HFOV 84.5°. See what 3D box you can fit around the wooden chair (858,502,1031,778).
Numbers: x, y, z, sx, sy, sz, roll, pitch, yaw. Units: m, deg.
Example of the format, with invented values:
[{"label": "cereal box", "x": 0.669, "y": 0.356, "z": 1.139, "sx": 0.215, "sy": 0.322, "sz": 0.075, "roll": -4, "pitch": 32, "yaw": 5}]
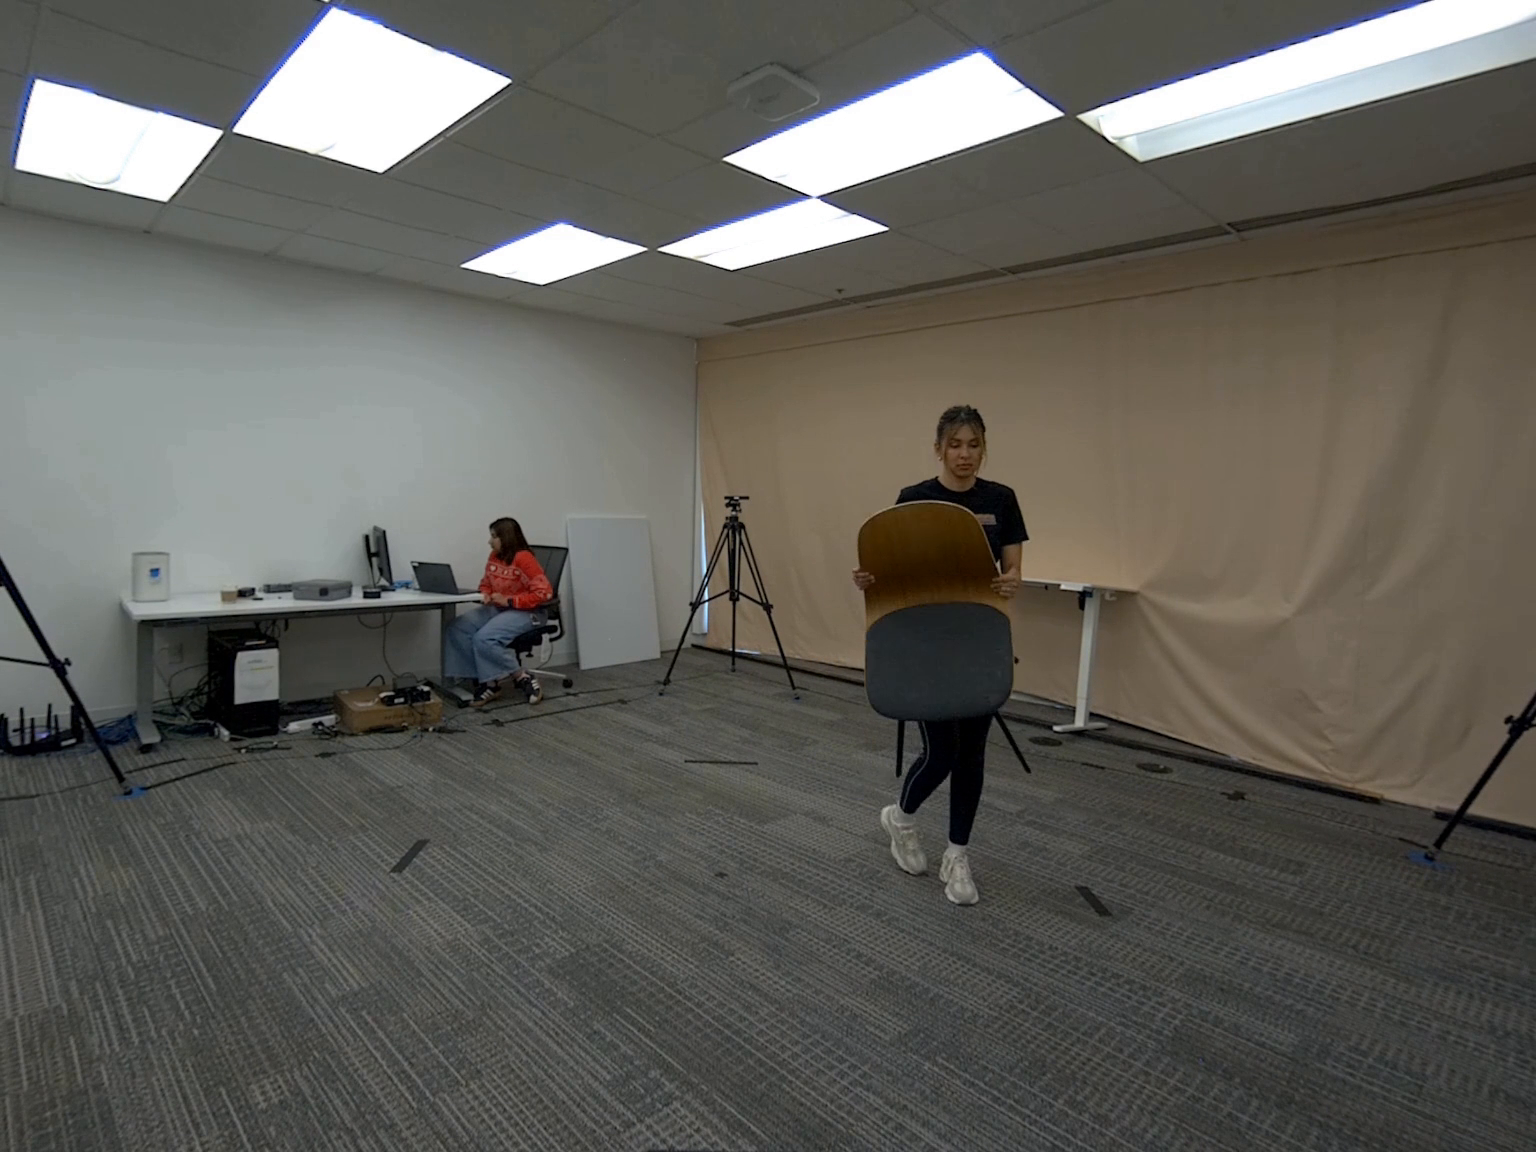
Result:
[{"label": "wooden chair", "x": 0.549, "y": 0.255, "z": 2.750, "sx": 0.484, "sy": 0.852, "sz": 0.531, "roll": -6, "pitch": 44, "yaw": 19}]
